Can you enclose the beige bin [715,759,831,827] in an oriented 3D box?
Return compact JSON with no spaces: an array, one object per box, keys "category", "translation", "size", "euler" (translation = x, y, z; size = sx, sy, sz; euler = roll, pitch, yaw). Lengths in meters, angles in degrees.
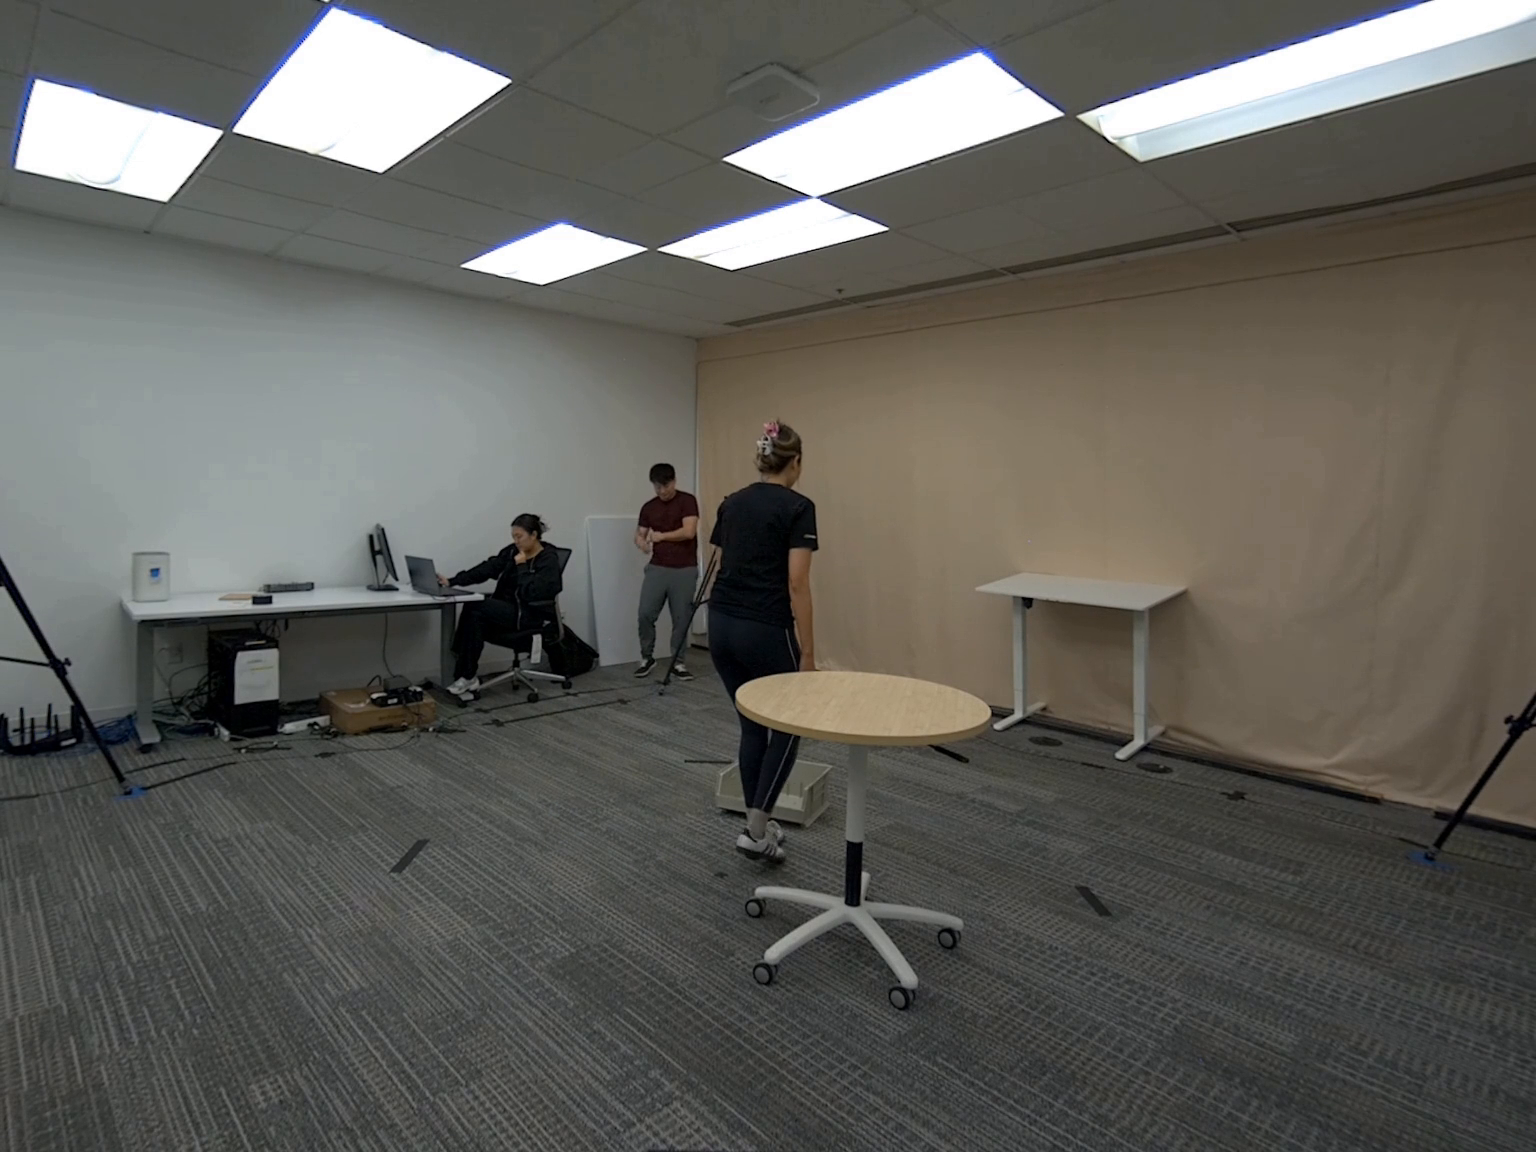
[{"category":"beige bin","translation":[0.022,0.961,3.782],"size":[0.430,0.188,0.371],"euler":[3,4,23]}]
